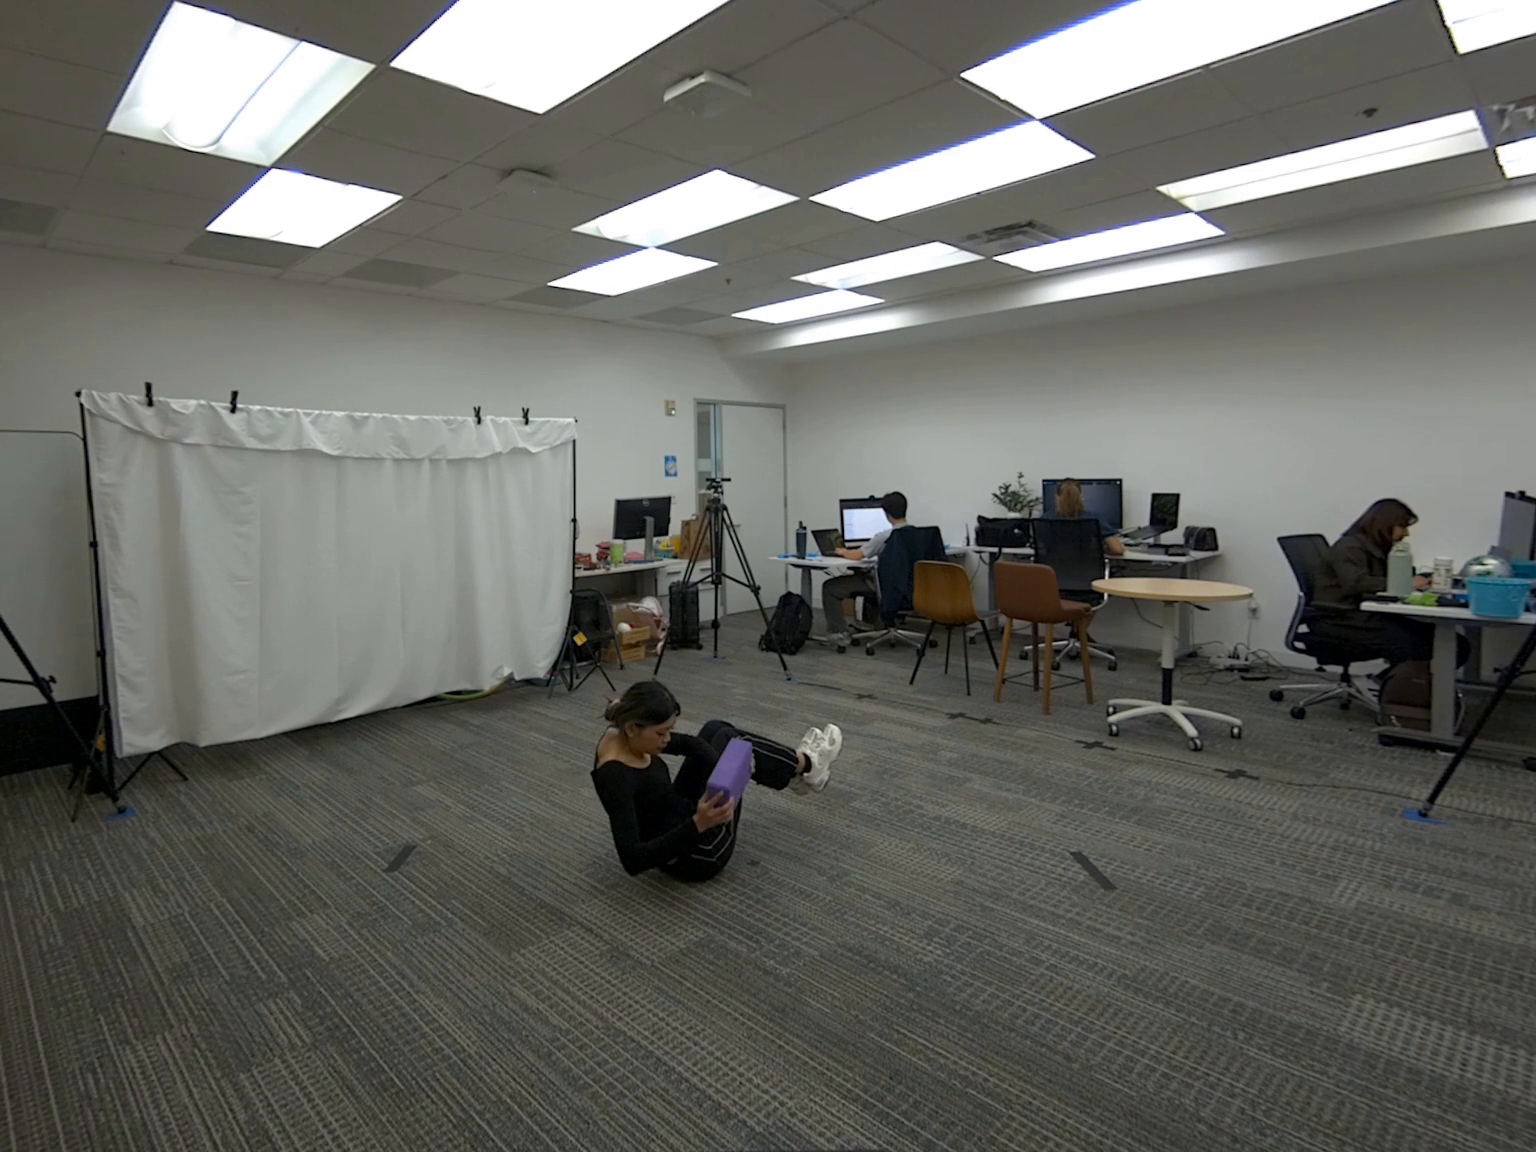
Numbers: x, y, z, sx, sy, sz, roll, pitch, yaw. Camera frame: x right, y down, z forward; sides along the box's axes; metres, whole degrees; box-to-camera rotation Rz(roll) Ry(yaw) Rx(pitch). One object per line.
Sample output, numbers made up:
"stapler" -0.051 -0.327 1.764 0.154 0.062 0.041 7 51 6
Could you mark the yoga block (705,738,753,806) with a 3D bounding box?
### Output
"yoga block" -0.132 0.648 2.737 0.077 0.146 0.231 9 28 8
